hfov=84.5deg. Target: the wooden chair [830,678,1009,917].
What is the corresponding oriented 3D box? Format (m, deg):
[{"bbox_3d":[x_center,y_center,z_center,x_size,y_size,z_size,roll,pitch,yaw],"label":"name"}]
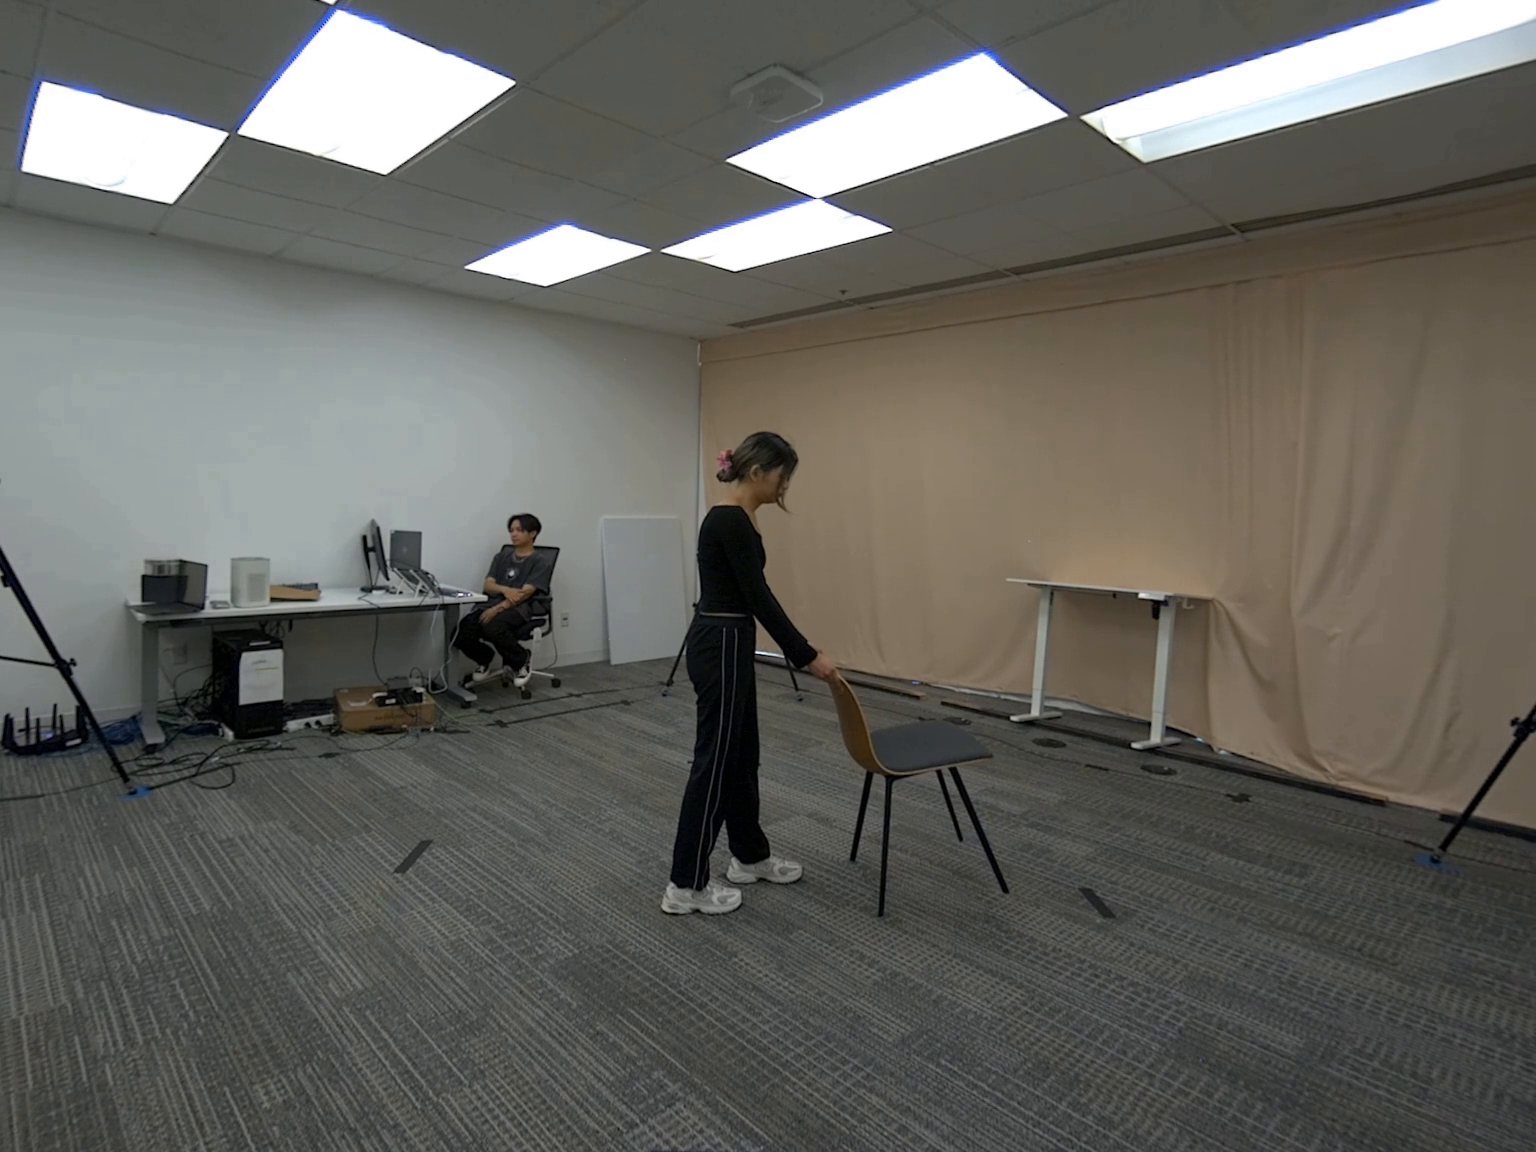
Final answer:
[{"bbox_3d":[0.509,0.669,3.030,0.521,0.874,0.481,-13,4,-6],"label":"wooden chair"}]
